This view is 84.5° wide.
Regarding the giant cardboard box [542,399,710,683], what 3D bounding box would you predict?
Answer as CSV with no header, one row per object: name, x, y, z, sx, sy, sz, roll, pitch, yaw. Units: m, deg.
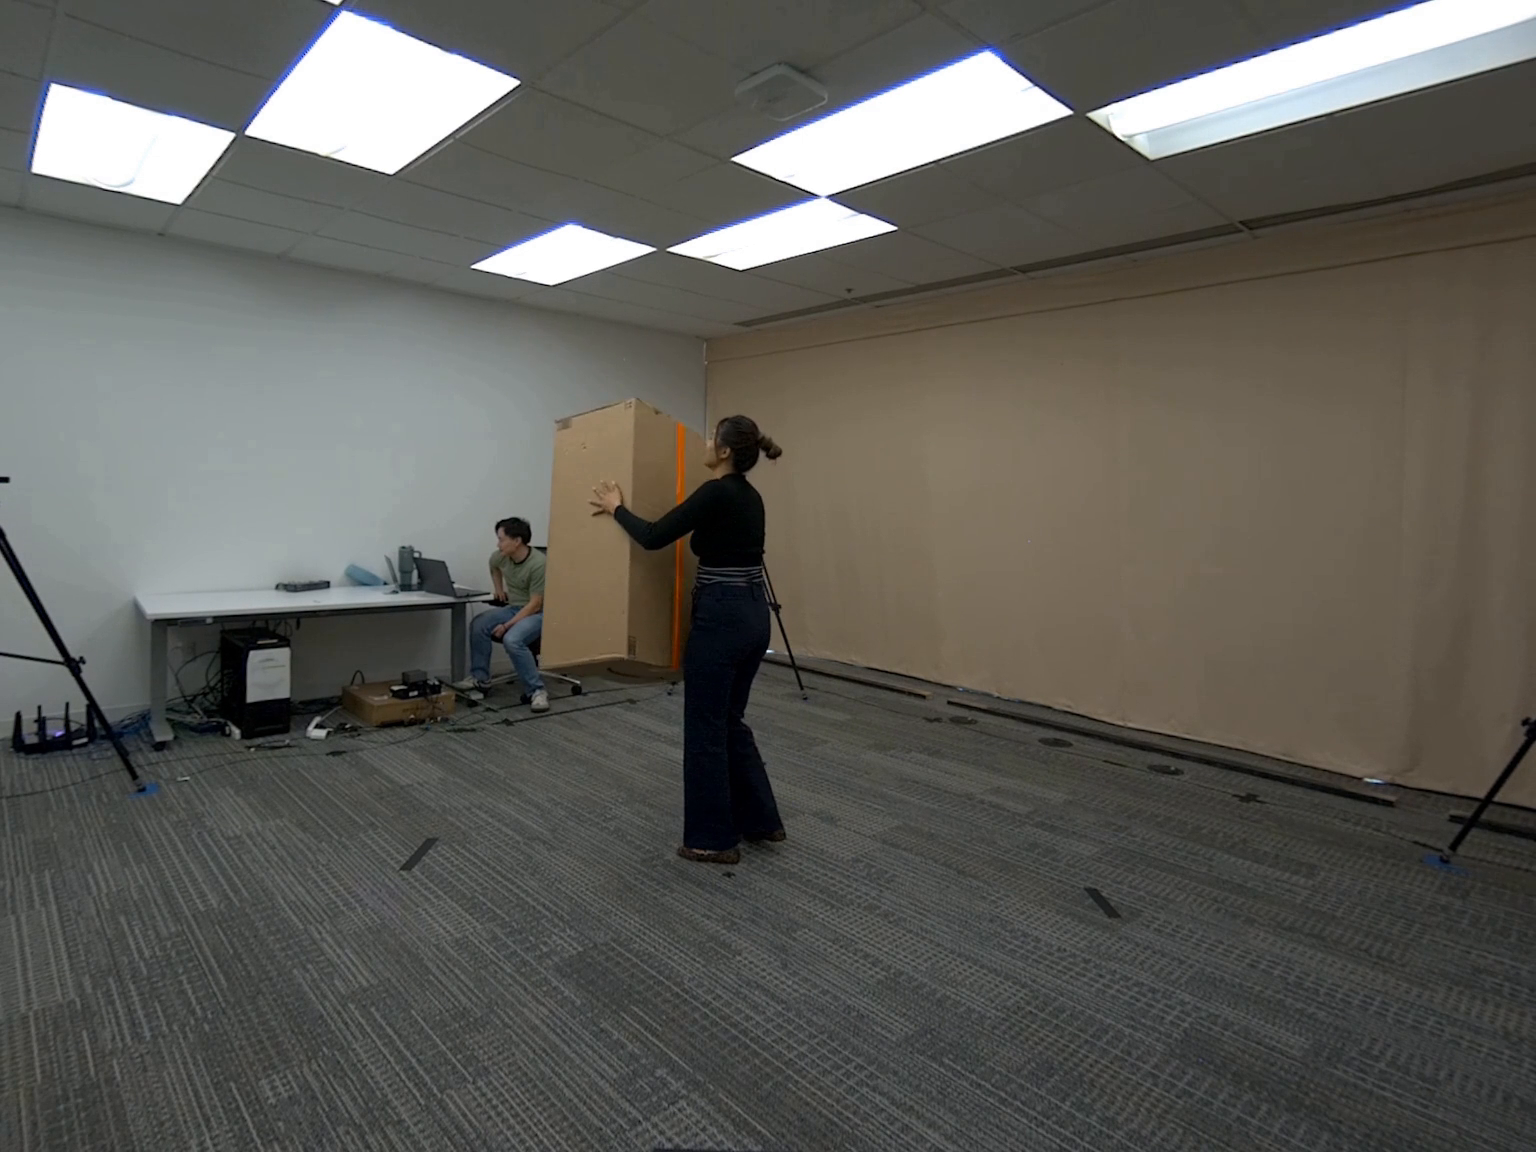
giant cardboard box,-0.543,-0.112,3.433,0.433,1.038,0.561,-10,-19,28
